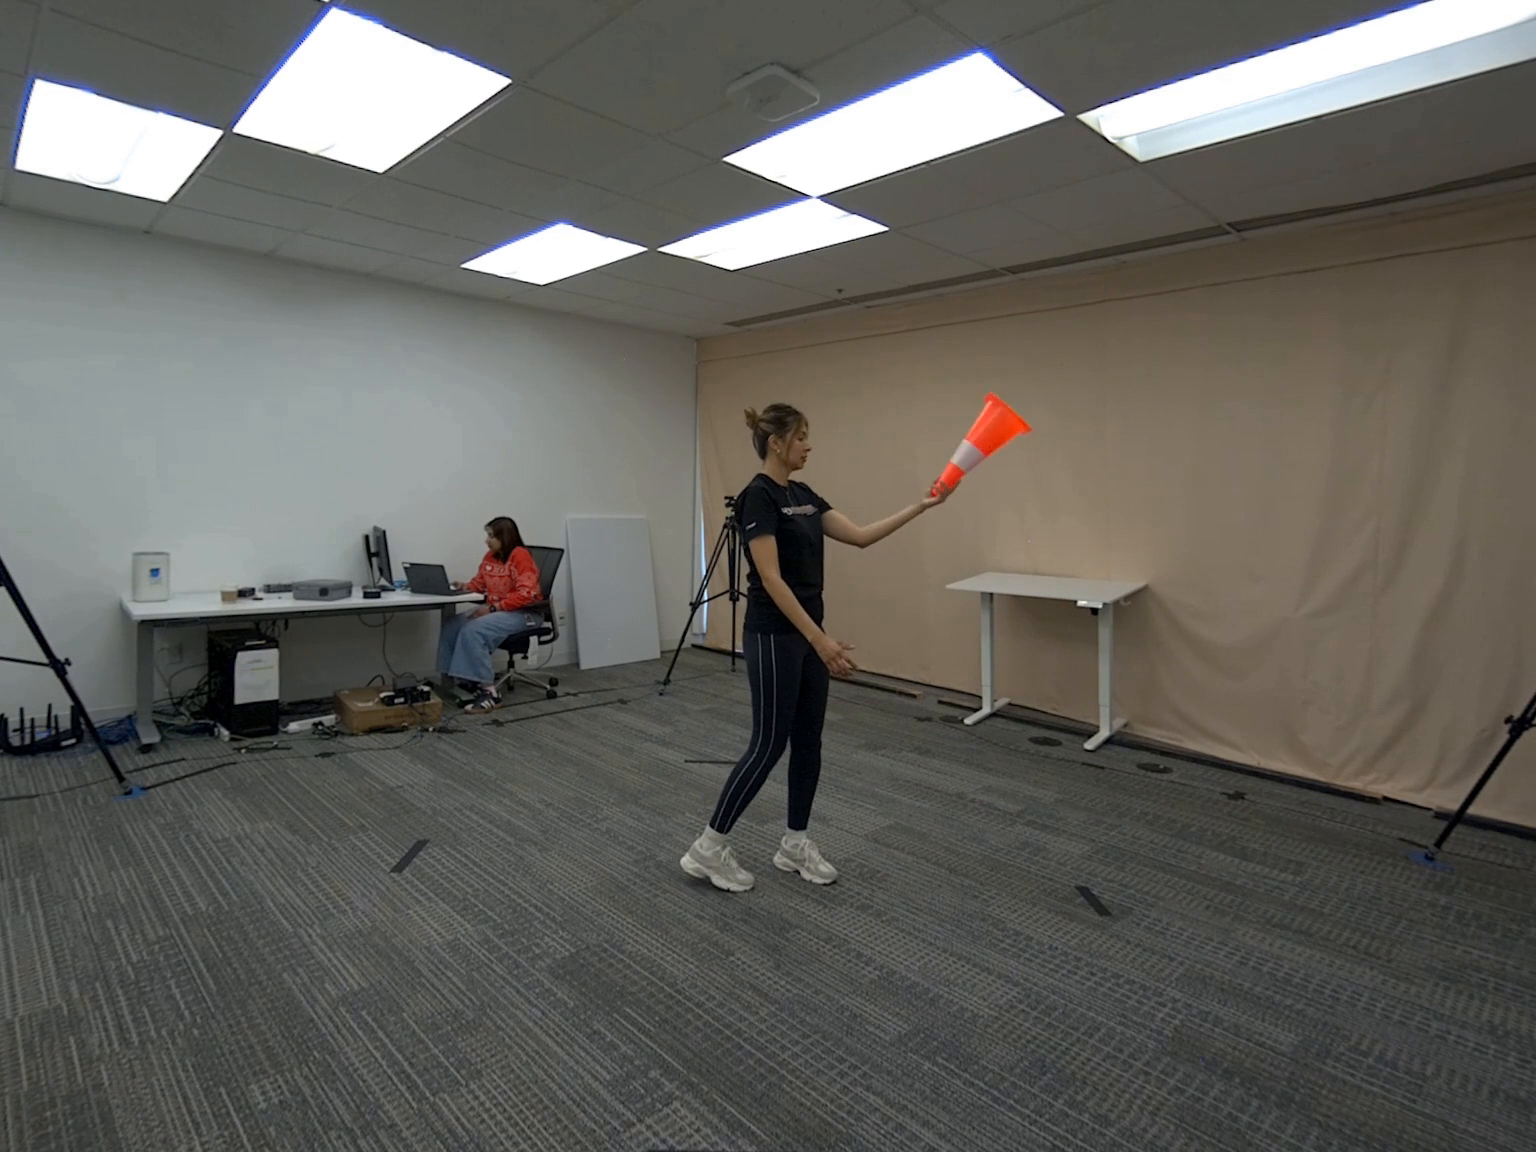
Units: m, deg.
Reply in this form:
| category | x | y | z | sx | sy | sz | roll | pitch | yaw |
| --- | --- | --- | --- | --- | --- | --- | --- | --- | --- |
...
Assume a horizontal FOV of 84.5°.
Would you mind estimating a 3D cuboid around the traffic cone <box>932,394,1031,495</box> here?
| category | x | y | z | sx | sy | sz | roll | pitch | yaw |
| --- | --- | --- | --- | --- | --- | --- | --- | --- | --- |
| traffic cone | 0.713 | -0.418 | 2.994 | 0.206 | 0.383 | 0.202 | 41 | 6 | 3 |
